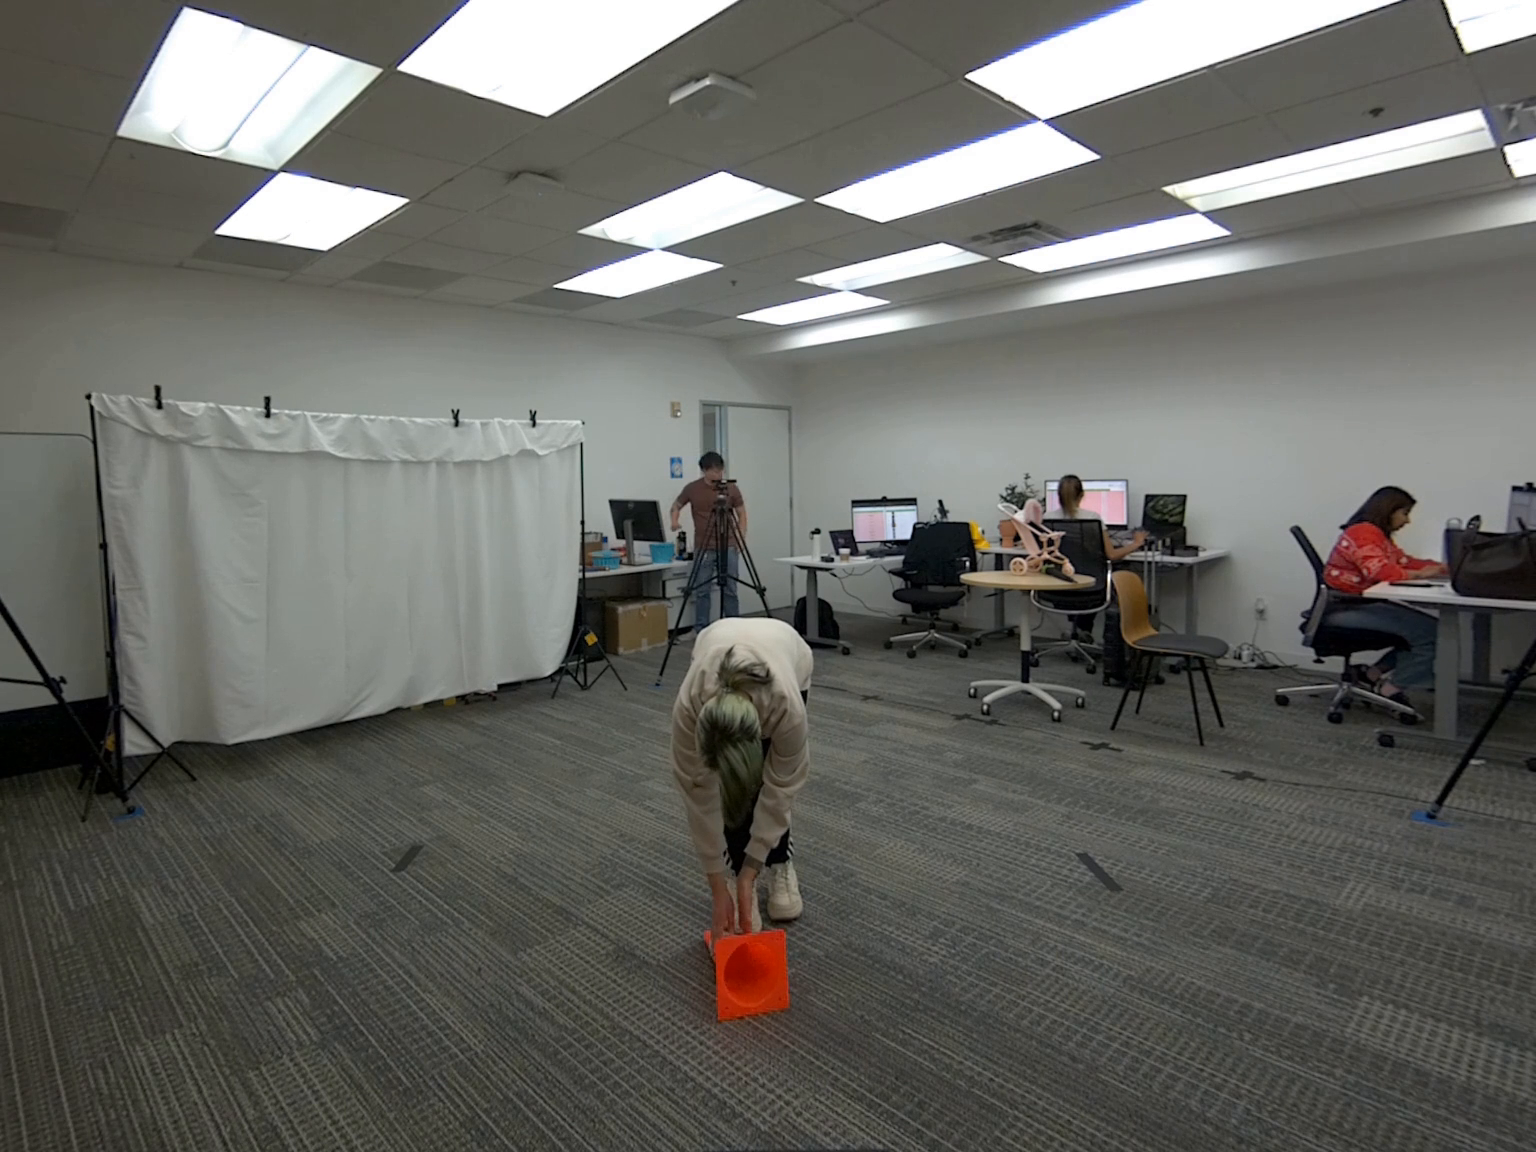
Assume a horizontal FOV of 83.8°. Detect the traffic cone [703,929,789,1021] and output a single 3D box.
[{"bbox_3d":[-0.111,1.075,2.424,0.199,0.206,0.388,-2,-7,-22],"label":"traffic cone"}]
